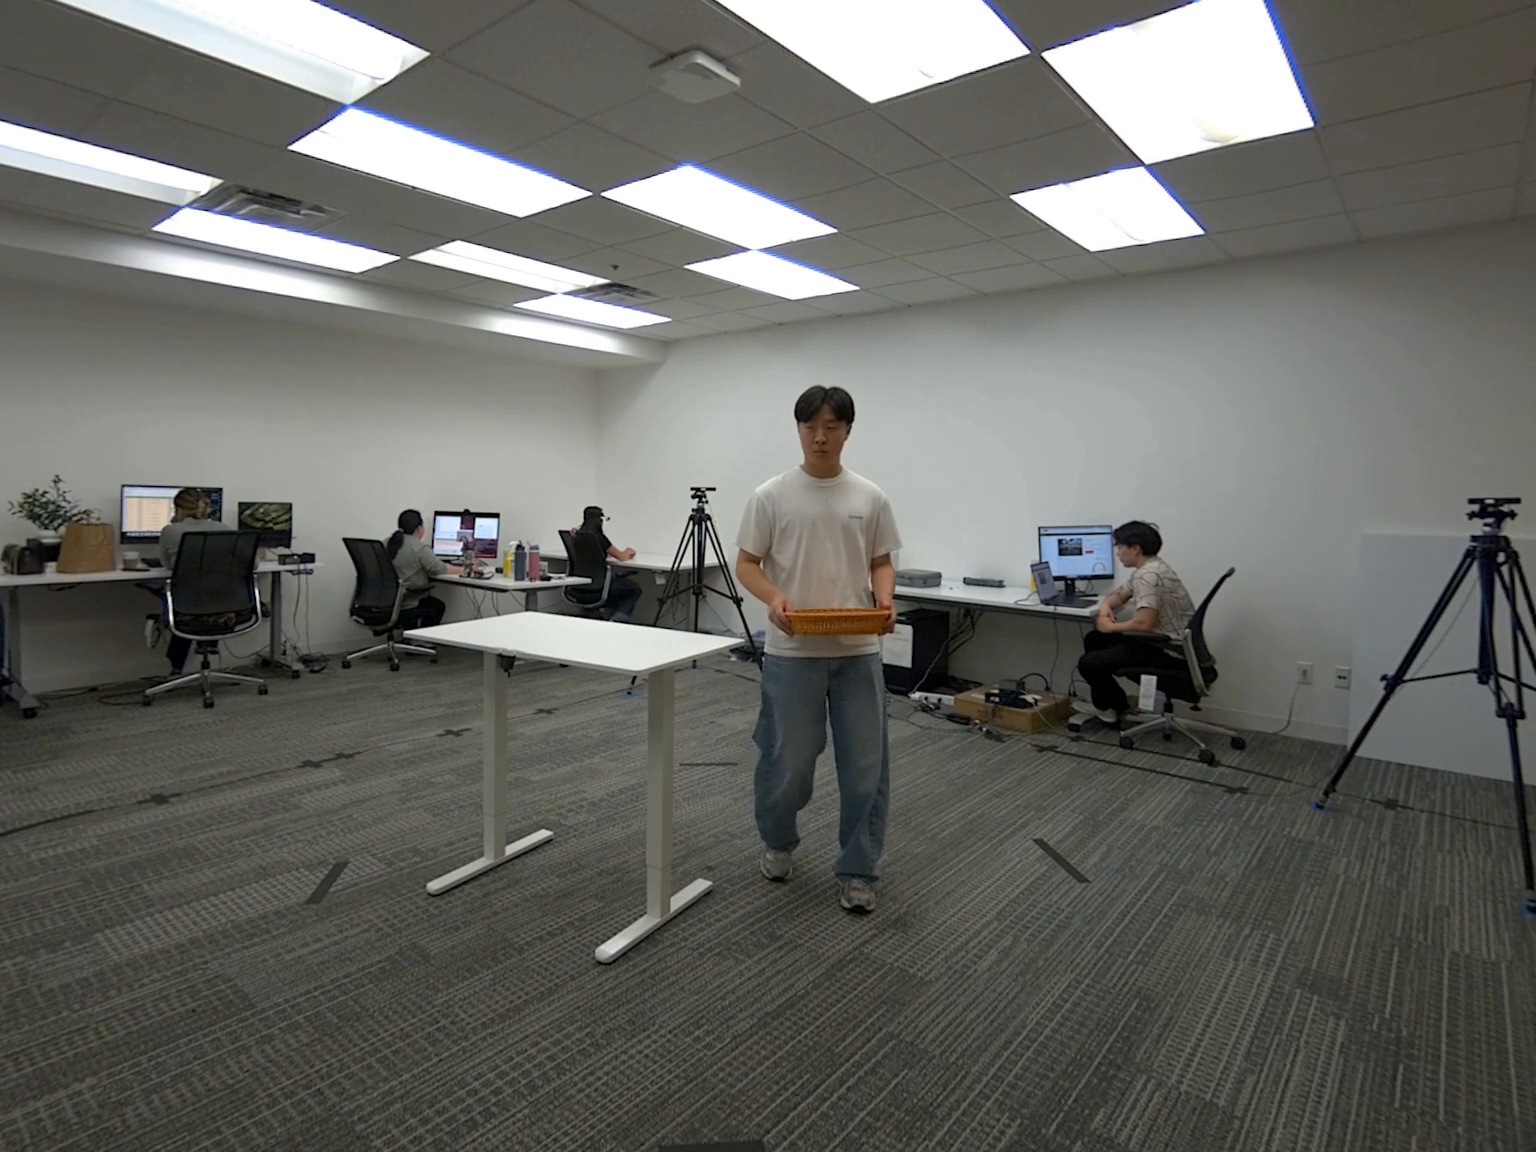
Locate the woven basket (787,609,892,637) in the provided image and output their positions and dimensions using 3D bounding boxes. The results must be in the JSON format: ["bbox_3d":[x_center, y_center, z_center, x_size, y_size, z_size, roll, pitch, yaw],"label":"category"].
[{"bbox_3d":[0.222,0.138,2.723,0.354,0.073,0.250,-1,3,9],"label":"woven basket"}]
